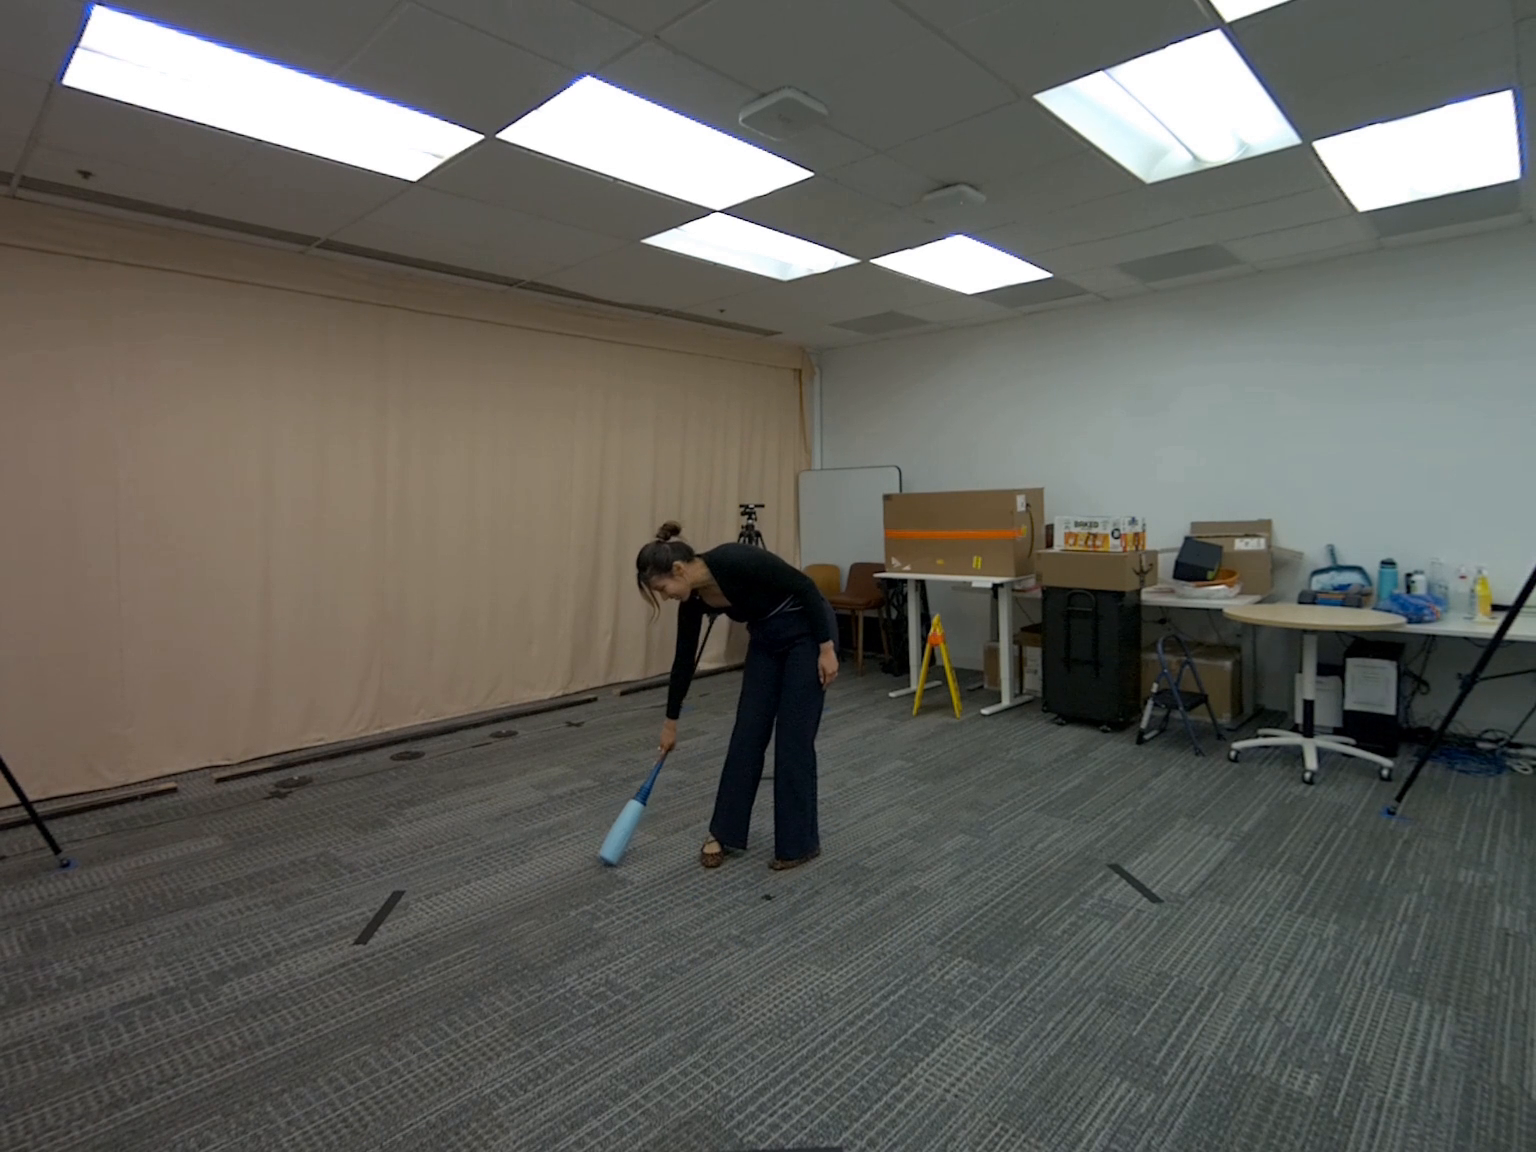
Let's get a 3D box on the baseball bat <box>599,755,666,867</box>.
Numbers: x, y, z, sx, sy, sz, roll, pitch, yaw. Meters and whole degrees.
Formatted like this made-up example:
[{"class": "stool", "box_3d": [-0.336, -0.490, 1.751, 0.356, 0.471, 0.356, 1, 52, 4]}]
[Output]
[{"class": "baseball bat", "box_3d": [-0.506, 0.903, 3.389, 0.090, 0.543, 0.088, 24, -28, 12]}]
